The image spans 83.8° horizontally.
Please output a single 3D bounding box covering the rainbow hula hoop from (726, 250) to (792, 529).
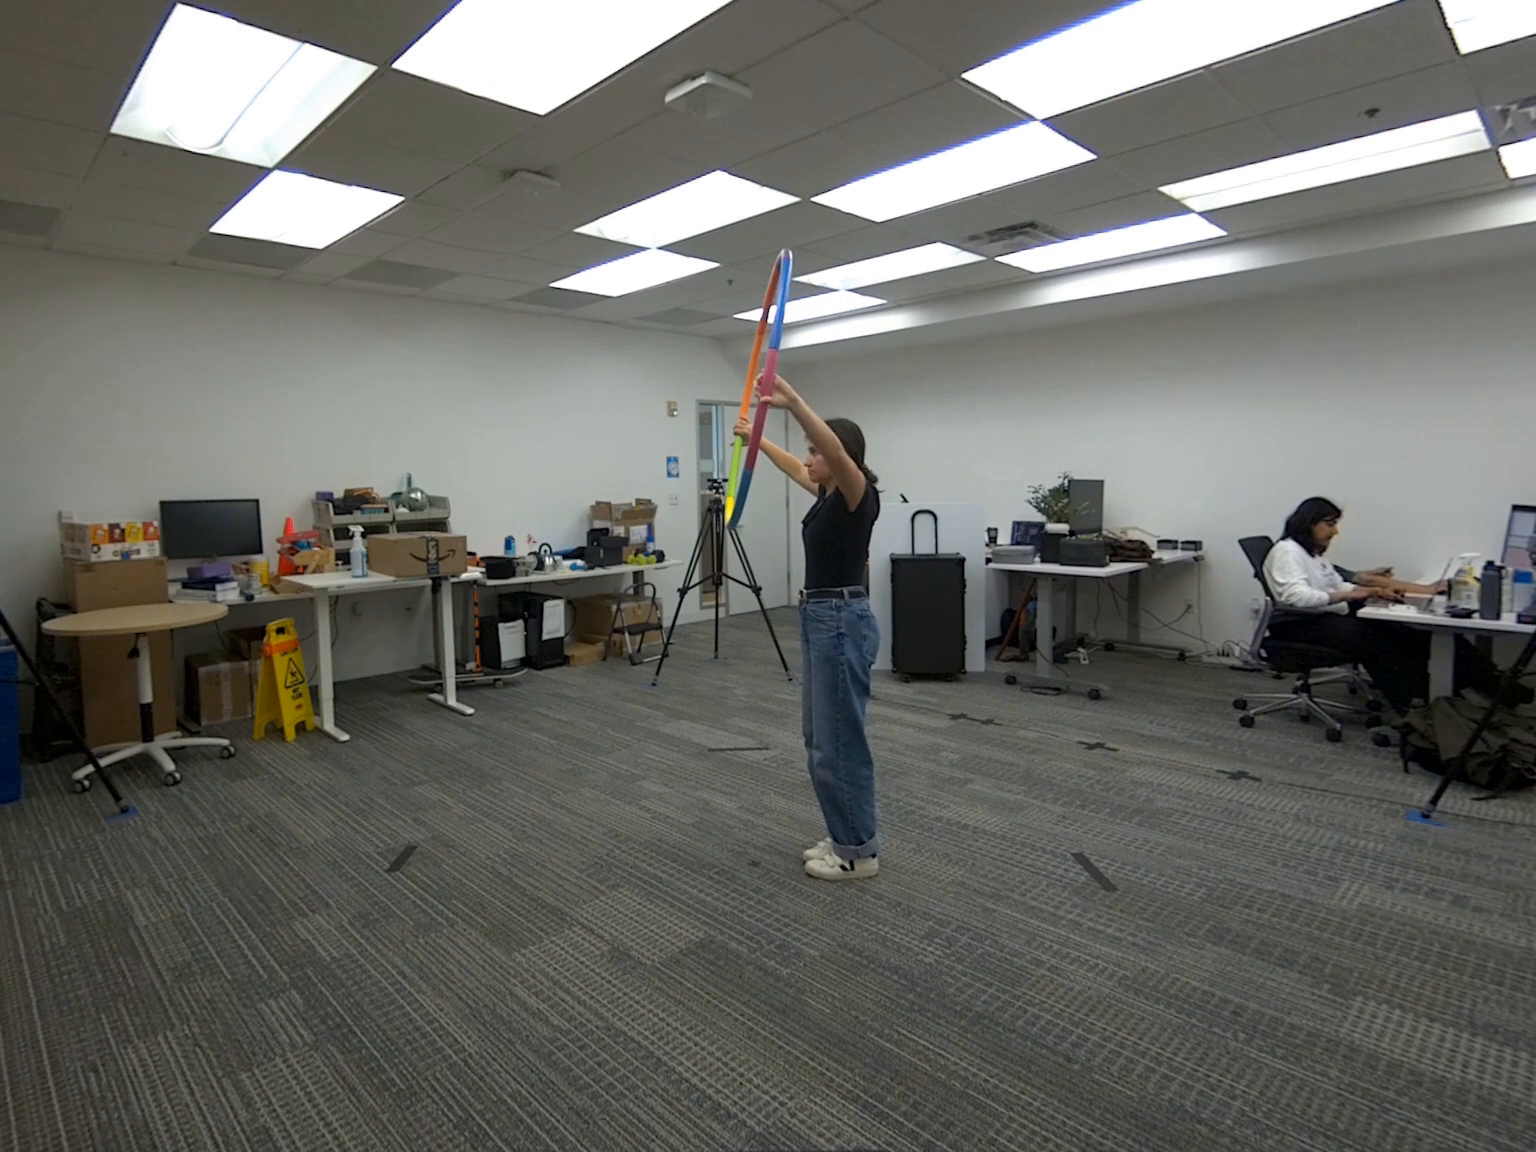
[{"bbox_3d":[-0.041,-0.635,2.997,0.035,0.976,0.986,12,4,-6],"label":"rainbow hula hoop"}]
